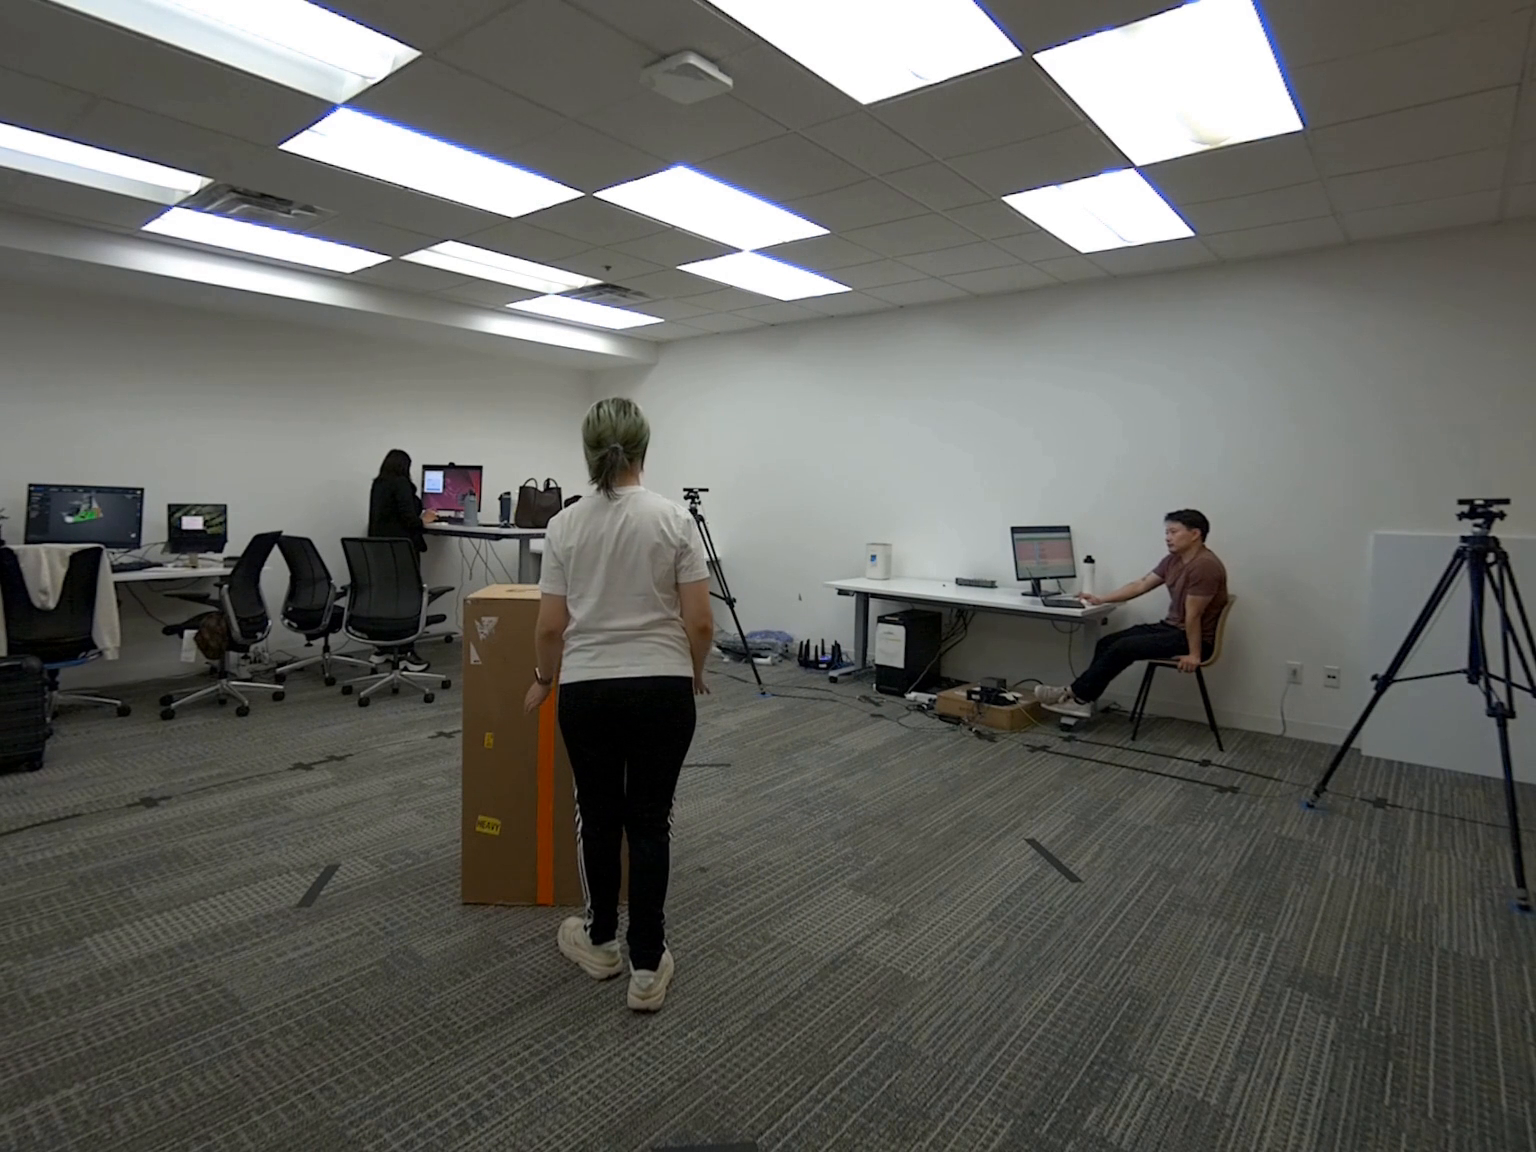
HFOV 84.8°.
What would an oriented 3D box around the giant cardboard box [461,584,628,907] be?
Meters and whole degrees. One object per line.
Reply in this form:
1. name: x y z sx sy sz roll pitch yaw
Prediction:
1. giant cardboard box: -0.756 0.564 3.001 0.576 1.023 0.428 1 3 -2
